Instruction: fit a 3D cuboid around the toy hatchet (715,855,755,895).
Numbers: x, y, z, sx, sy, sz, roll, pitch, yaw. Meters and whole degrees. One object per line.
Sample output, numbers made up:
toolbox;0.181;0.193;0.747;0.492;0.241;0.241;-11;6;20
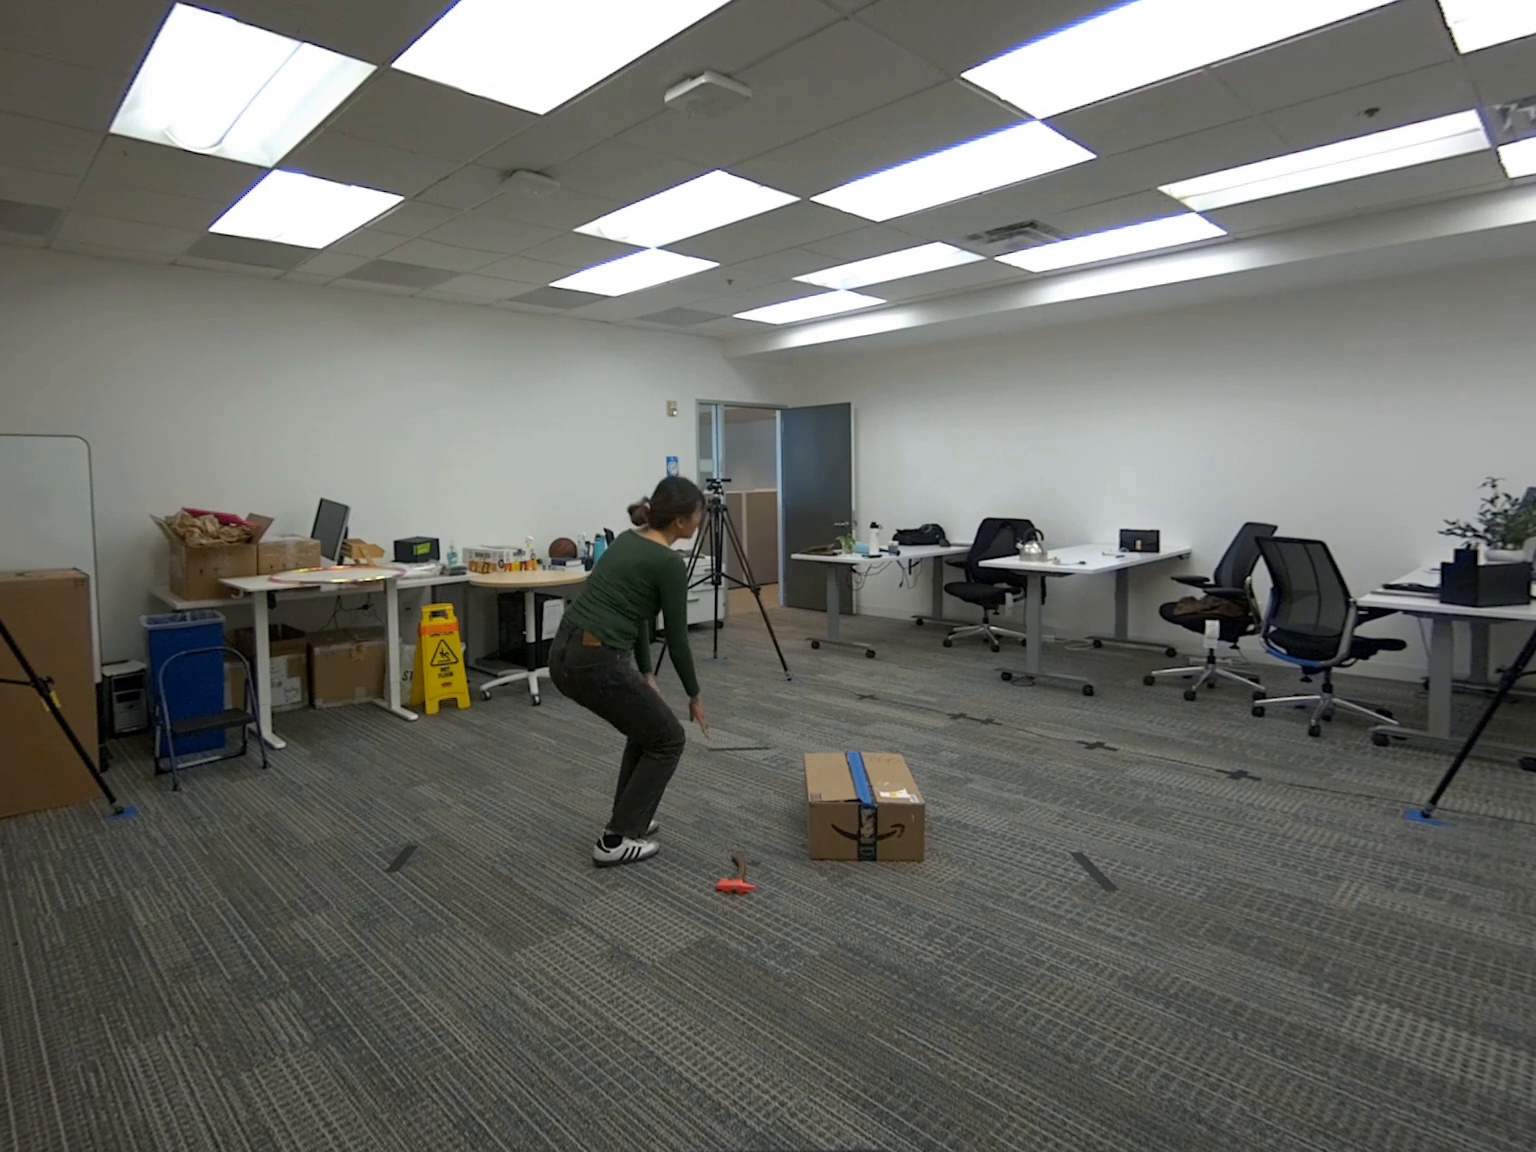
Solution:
toy hatchet;-0.133;1.041;3.003;0.130;0.029;0.273;-6;5;-11
